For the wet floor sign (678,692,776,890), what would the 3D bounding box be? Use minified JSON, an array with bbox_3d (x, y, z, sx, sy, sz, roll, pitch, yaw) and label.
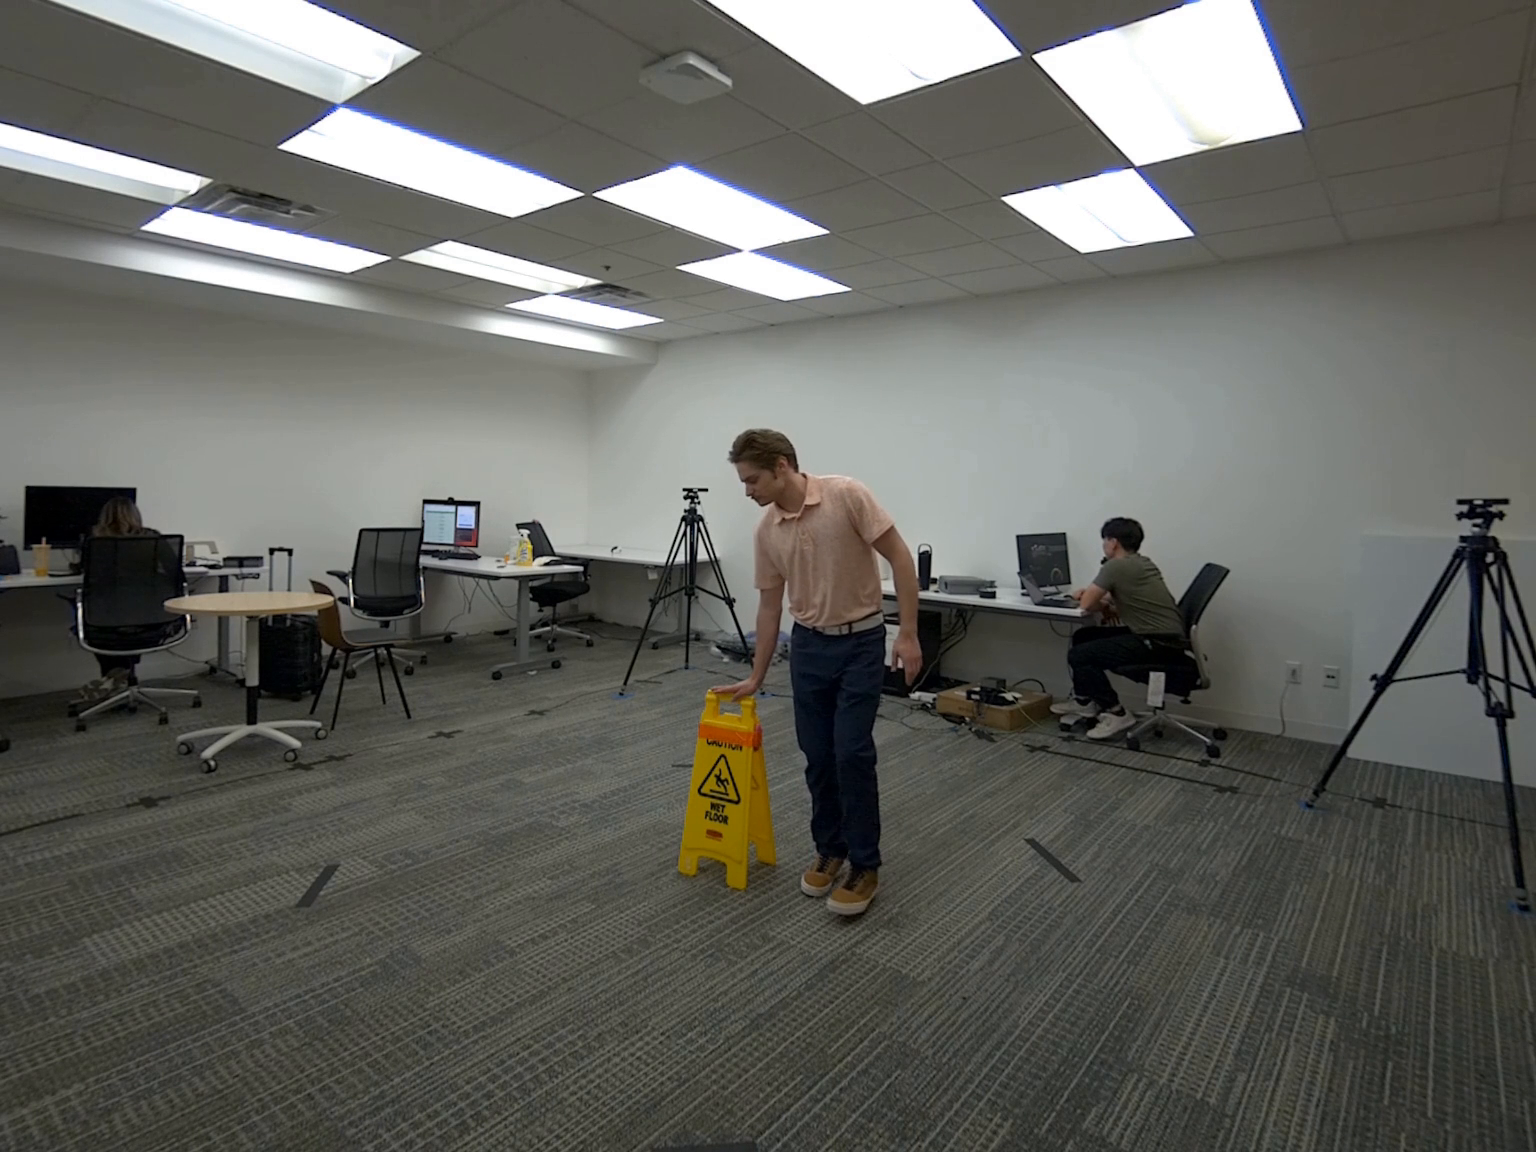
[{"bbox_3d":[-0.154,0.747,3.105,0.290,0.644,0.282,2,3,28],"label":"wet floor sign"}]
